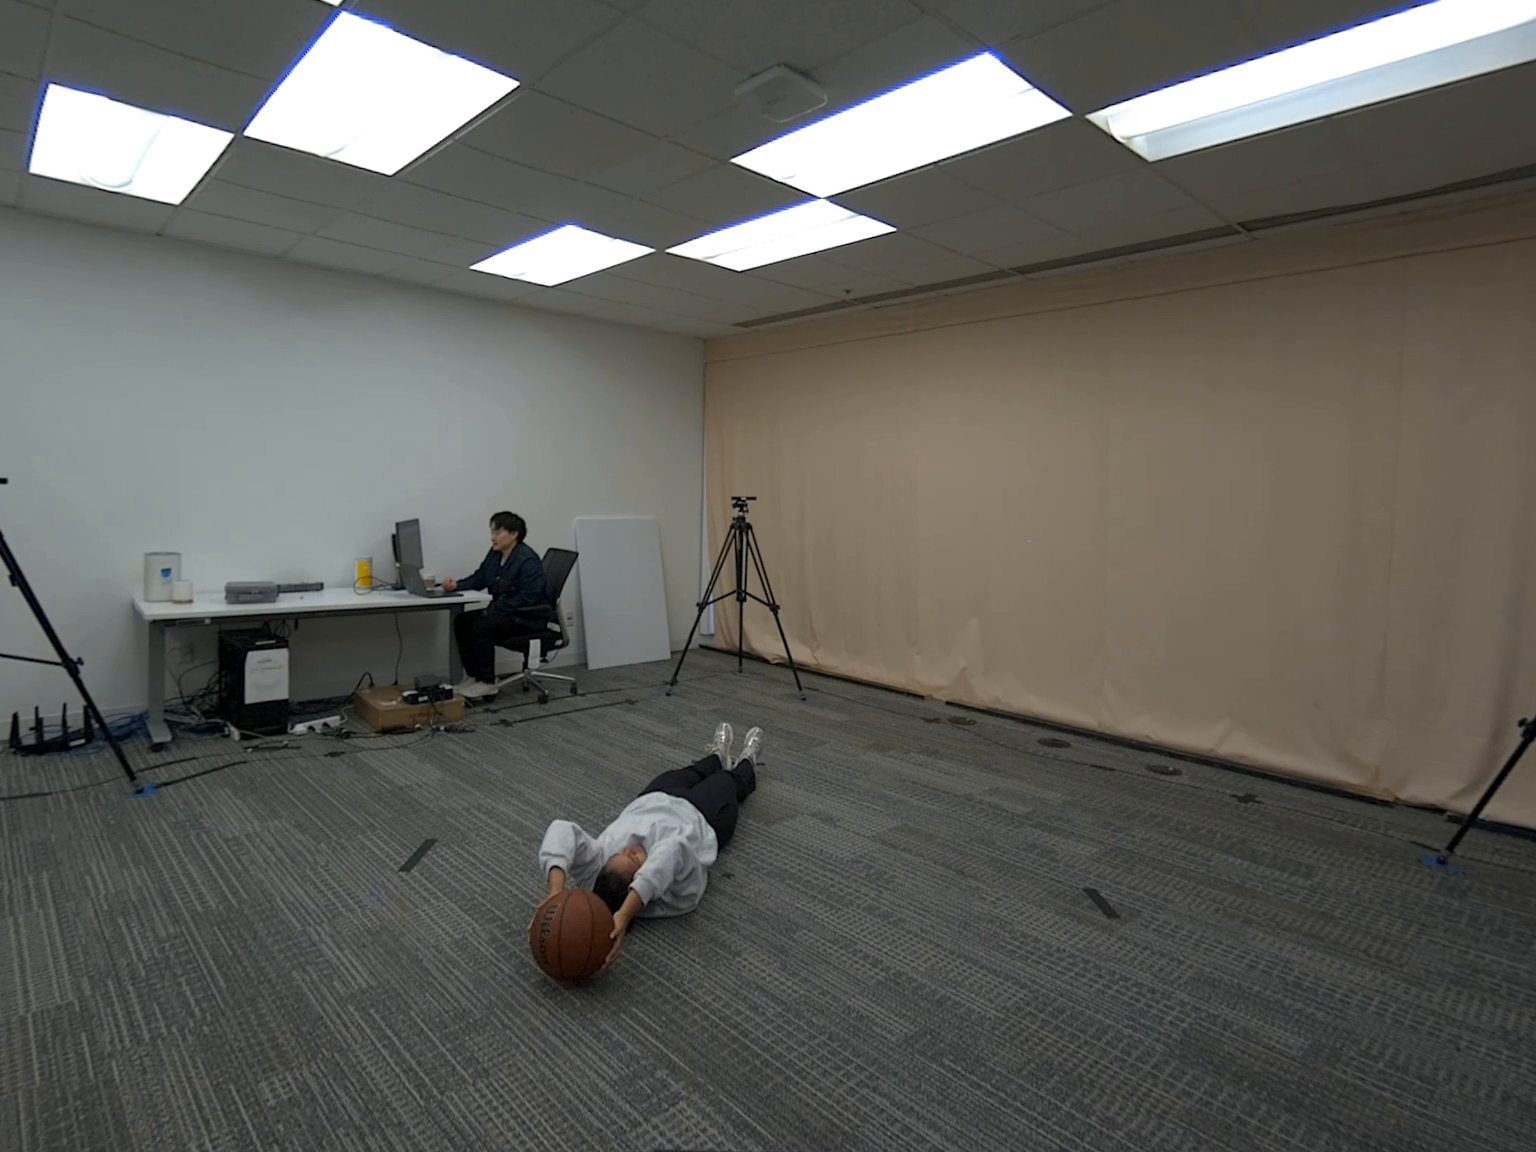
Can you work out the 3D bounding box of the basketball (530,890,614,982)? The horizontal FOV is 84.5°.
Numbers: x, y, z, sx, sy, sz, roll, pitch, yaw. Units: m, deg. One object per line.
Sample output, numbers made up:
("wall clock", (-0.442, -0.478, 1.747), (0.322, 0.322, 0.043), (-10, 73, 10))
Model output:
("basketball", (-0.558, 1.021, 2.399), (0.236, 0.235, 0.237), (1, 5, -1))
